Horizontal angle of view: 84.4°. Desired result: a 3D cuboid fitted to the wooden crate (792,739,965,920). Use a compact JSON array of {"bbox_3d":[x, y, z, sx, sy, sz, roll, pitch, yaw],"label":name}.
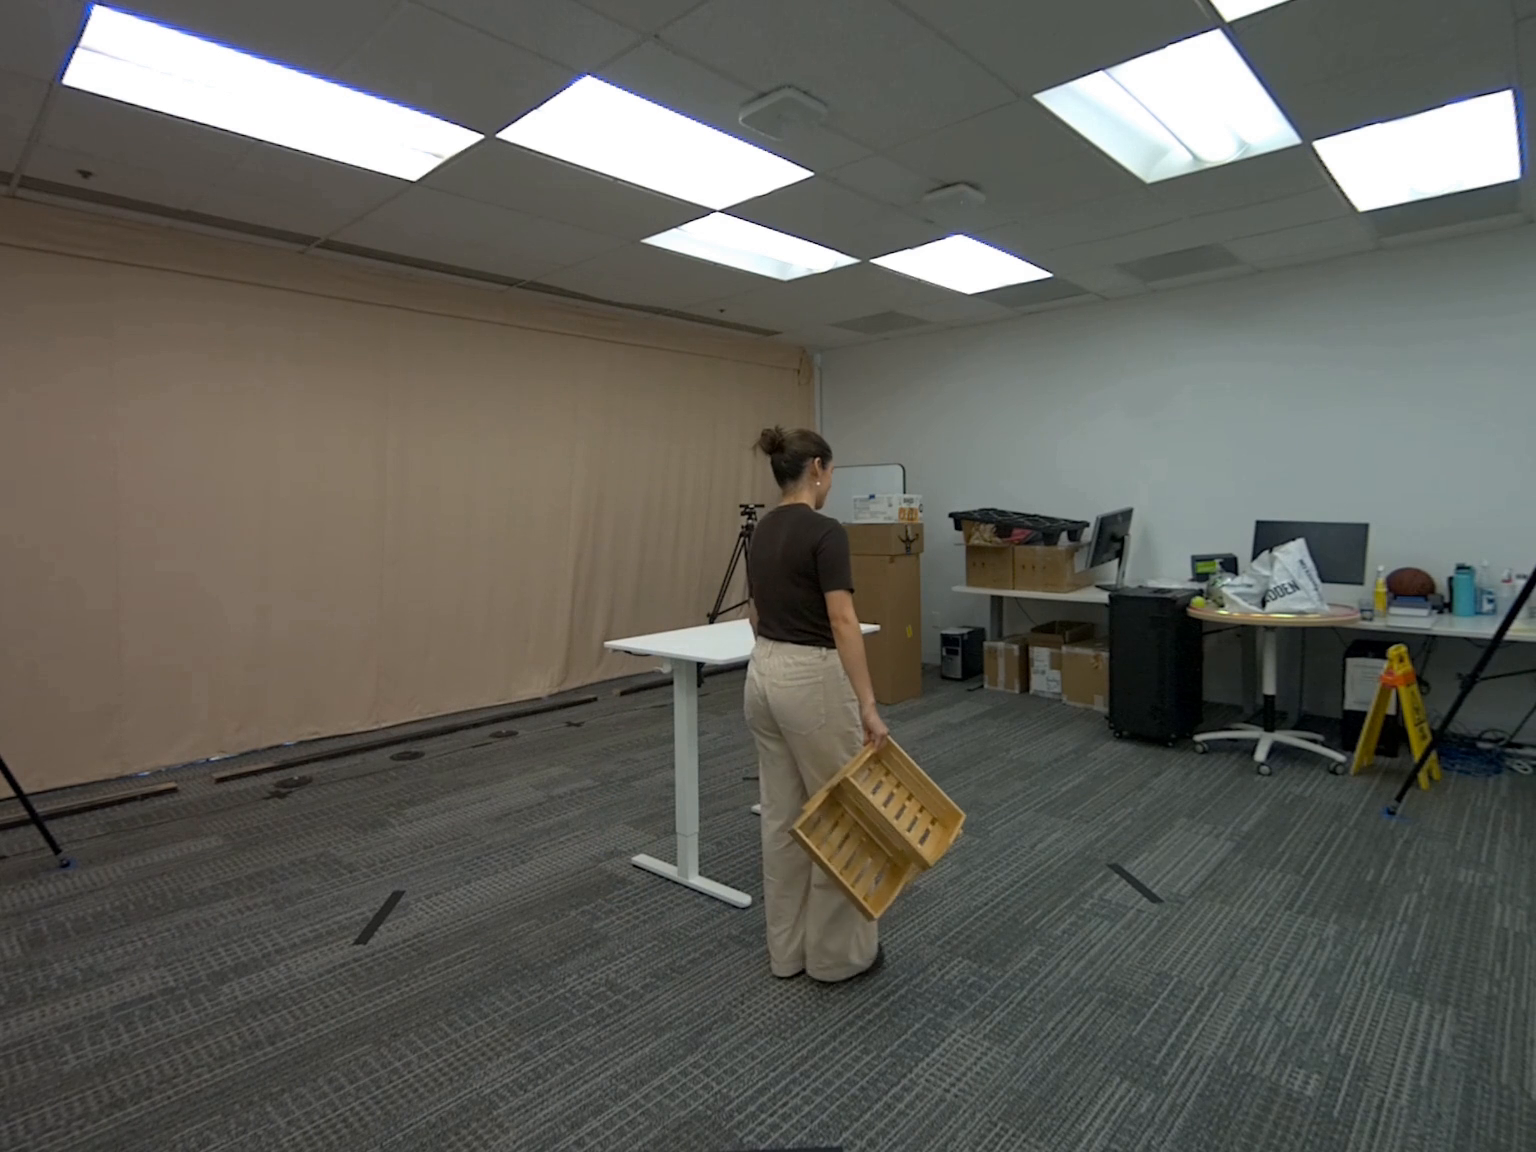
[{"bbox_3d":[0.296,0.656,2.227,0.274,0.329,0.296,-51,-12,30],"label":"wooden crate"}]
